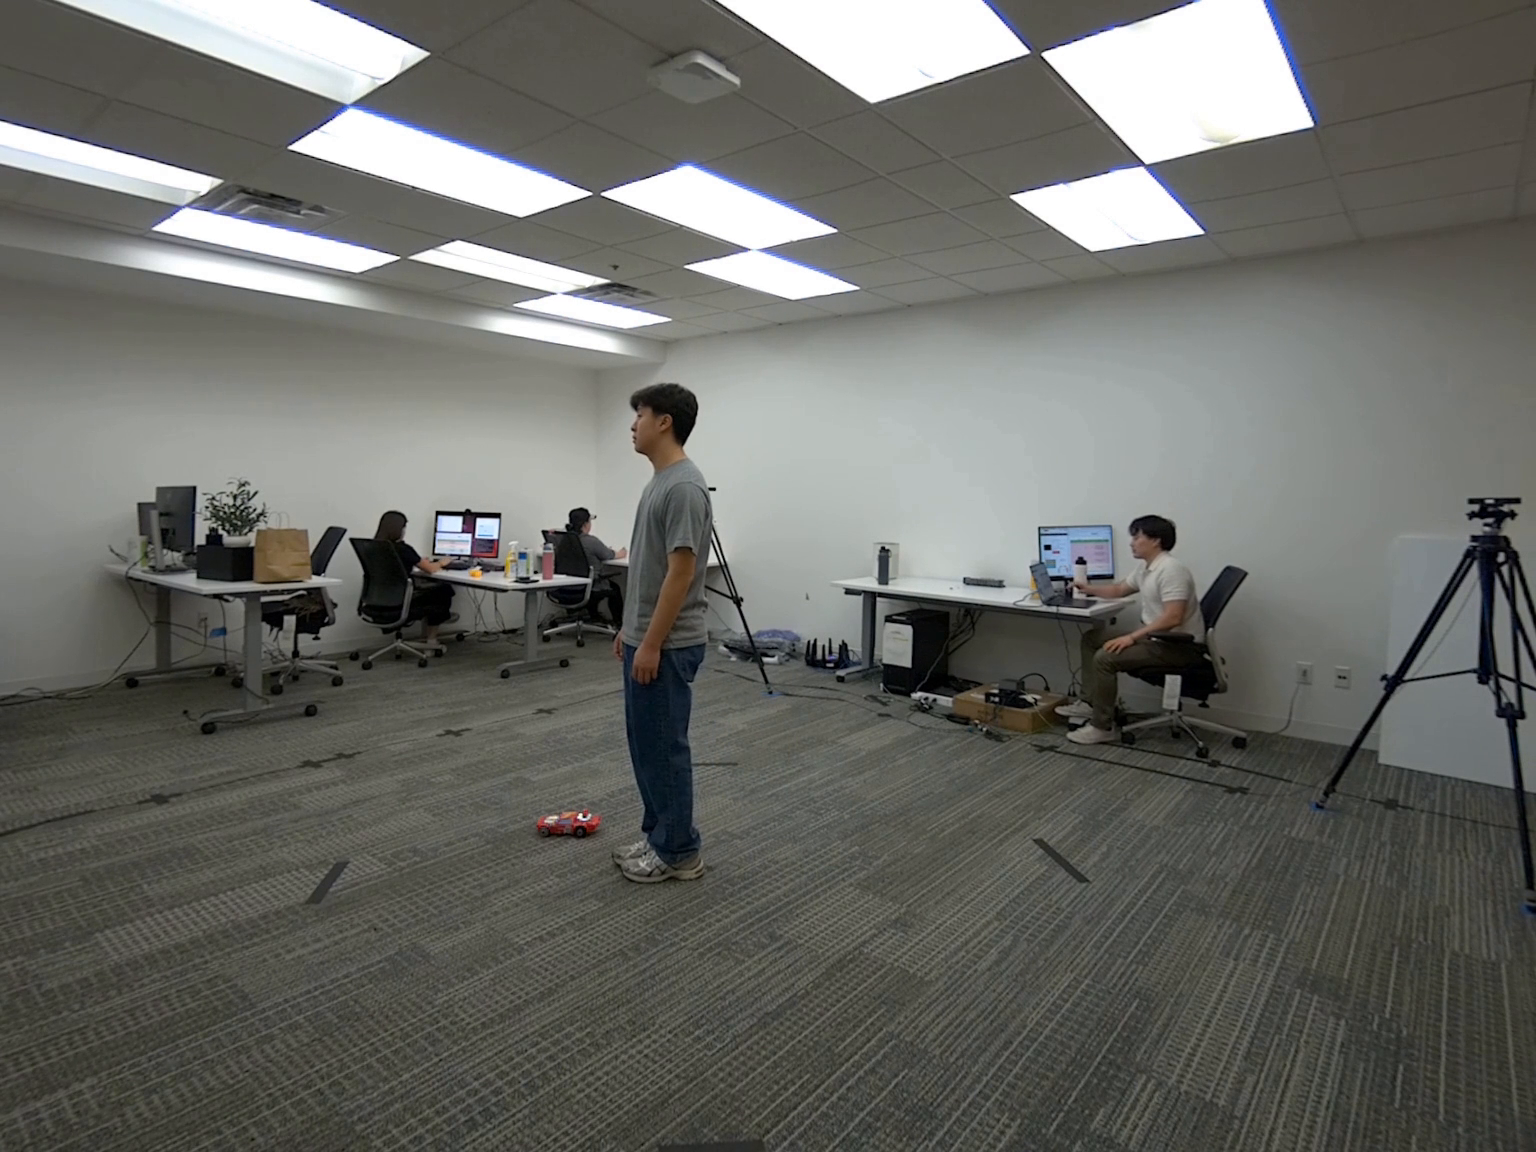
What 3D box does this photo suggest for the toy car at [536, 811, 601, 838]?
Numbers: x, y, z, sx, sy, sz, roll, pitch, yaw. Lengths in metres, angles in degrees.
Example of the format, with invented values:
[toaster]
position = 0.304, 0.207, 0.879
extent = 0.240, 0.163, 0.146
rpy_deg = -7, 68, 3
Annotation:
[toy car]
position = -0.810, 0.996, 3.412
extent = 0.255, 0.083, 0.131
rpy_deg = -10, 4, 1
